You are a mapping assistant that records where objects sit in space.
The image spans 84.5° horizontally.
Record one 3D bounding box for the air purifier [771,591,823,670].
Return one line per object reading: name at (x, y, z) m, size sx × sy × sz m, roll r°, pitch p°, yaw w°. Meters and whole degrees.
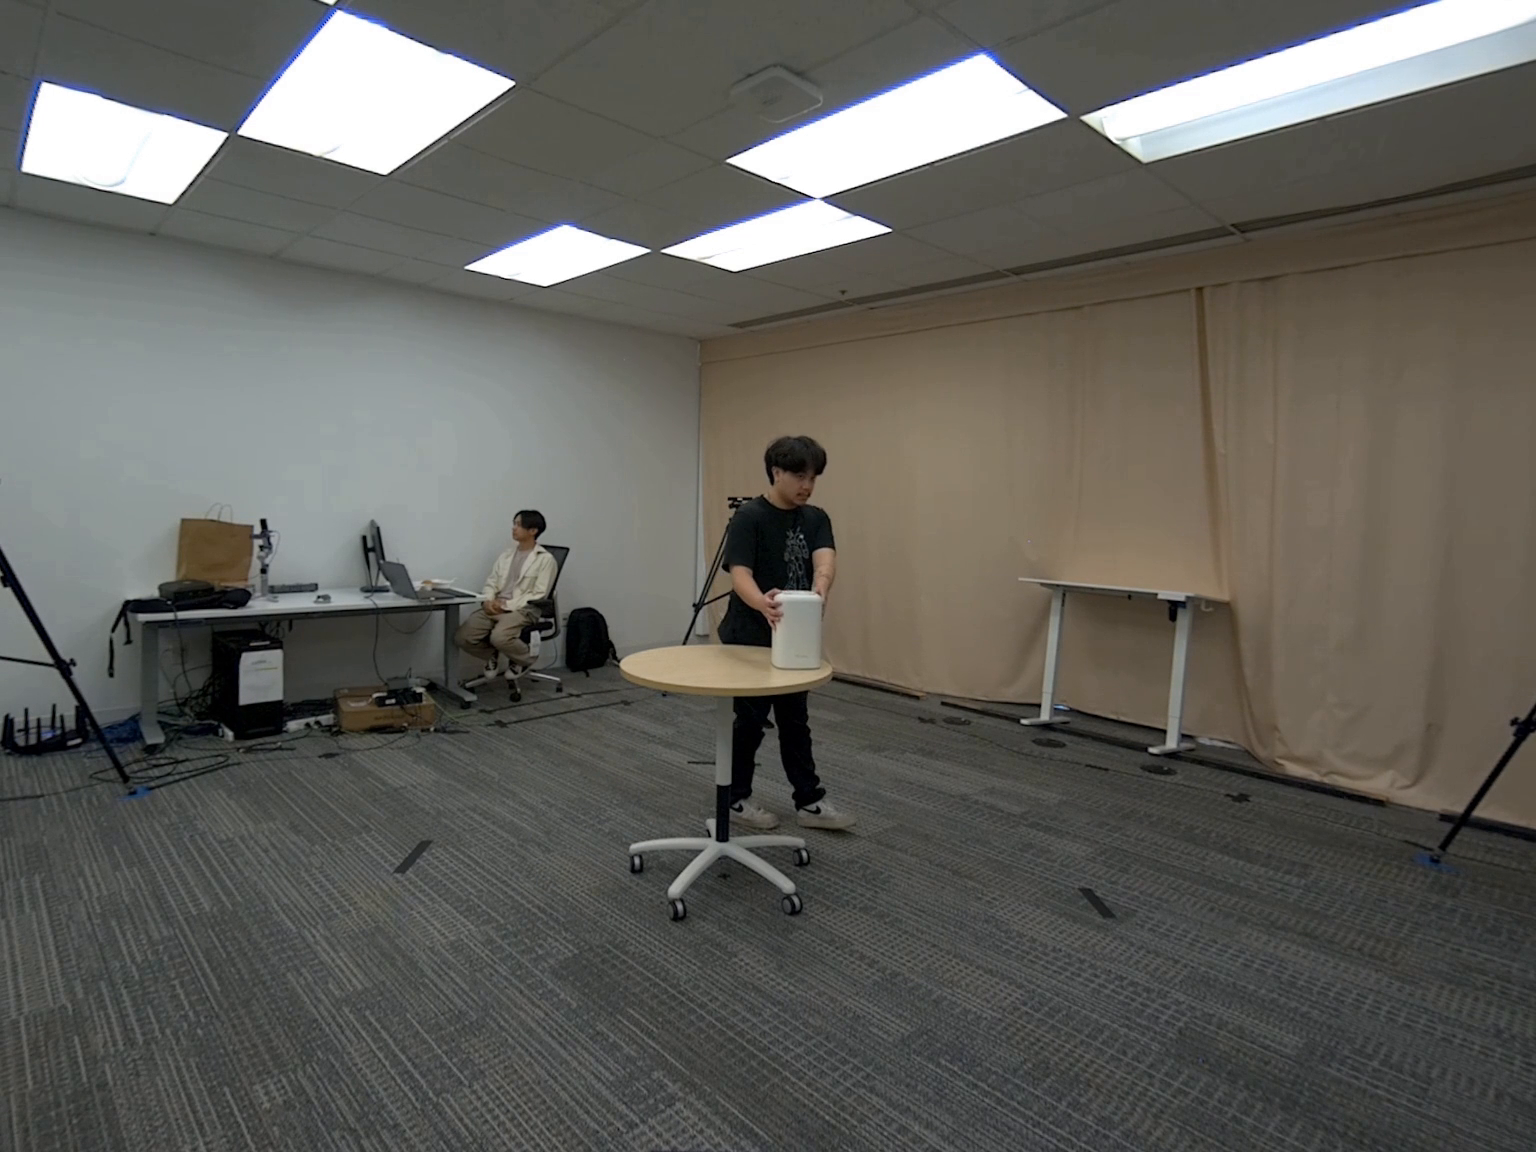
air purifier at (0.091, 0.195, 3.053) m, size 0.170 × 0.264 × 0.173 m, roll 1°, pitch 4°, yaw -8°
